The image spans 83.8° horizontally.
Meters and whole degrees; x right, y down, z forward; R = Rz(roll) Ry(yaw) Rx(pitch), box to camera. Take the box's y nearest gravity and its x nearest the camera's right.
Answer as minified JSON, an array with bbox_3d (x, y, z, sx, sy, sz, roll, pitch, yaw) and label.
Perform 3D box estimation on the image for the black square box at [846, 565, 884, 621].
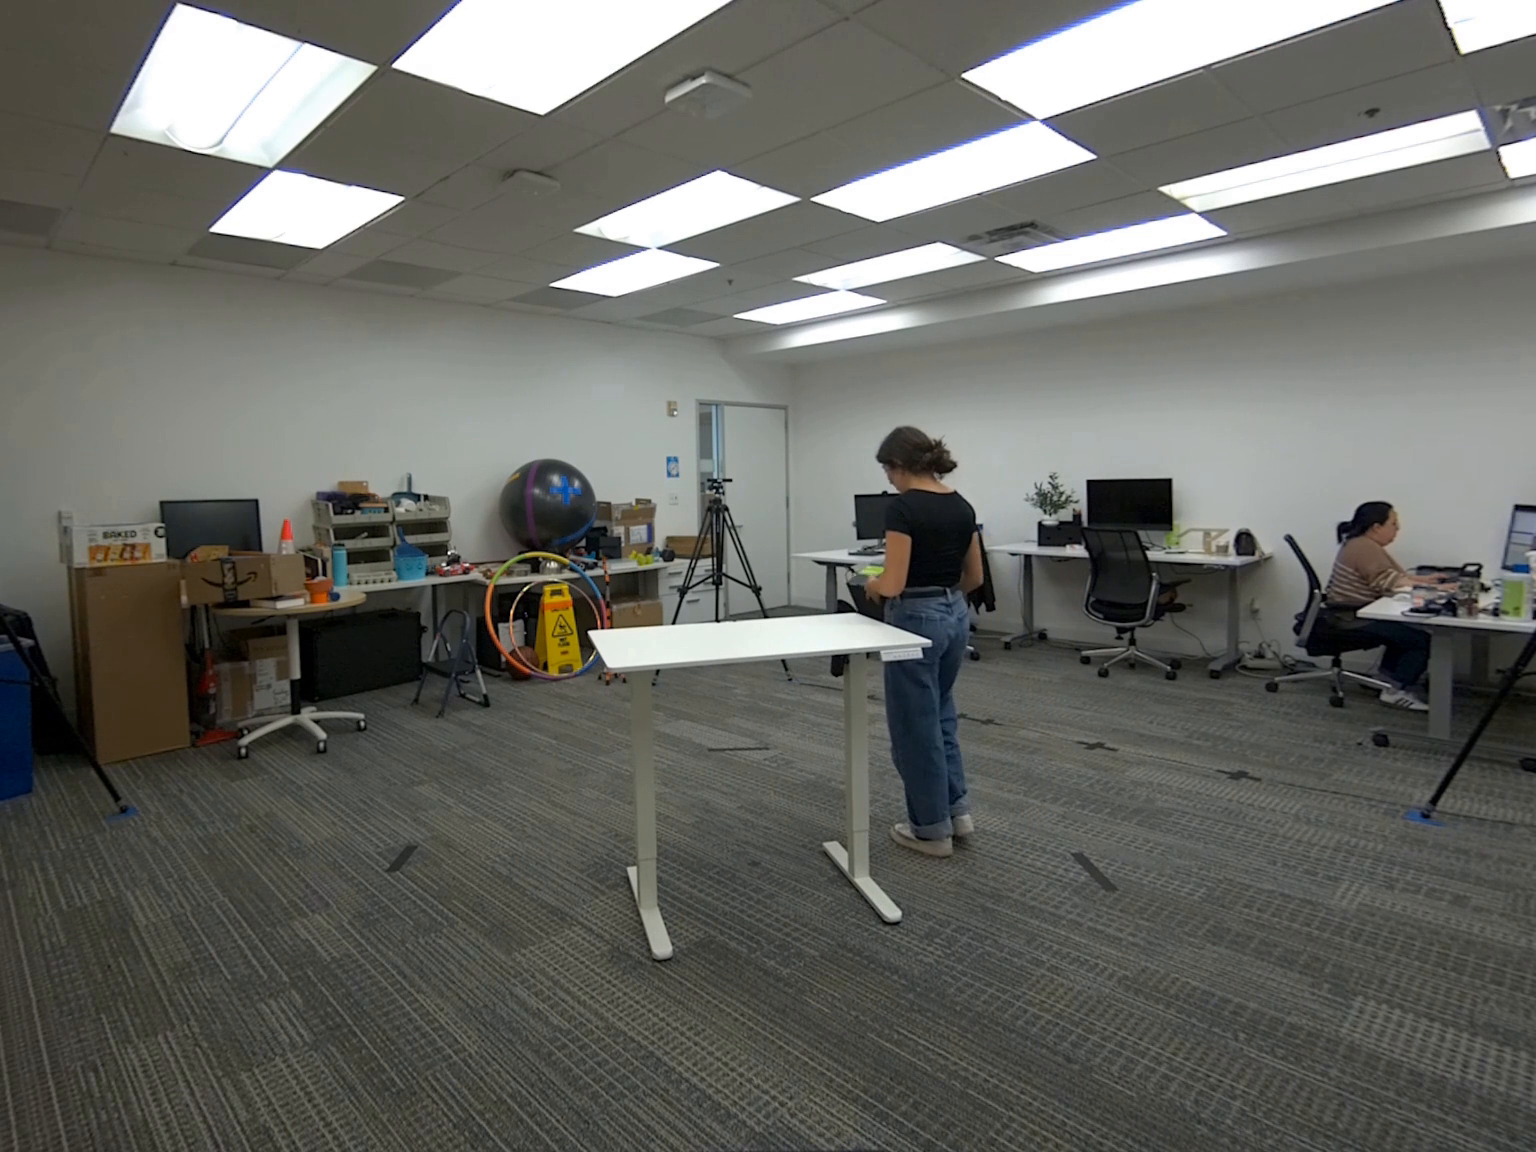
[{"bbox_3d":[0.477,0.084,3.407,0.155,0.212,0.235,-34,23,-26],"label":"black square box"}]
